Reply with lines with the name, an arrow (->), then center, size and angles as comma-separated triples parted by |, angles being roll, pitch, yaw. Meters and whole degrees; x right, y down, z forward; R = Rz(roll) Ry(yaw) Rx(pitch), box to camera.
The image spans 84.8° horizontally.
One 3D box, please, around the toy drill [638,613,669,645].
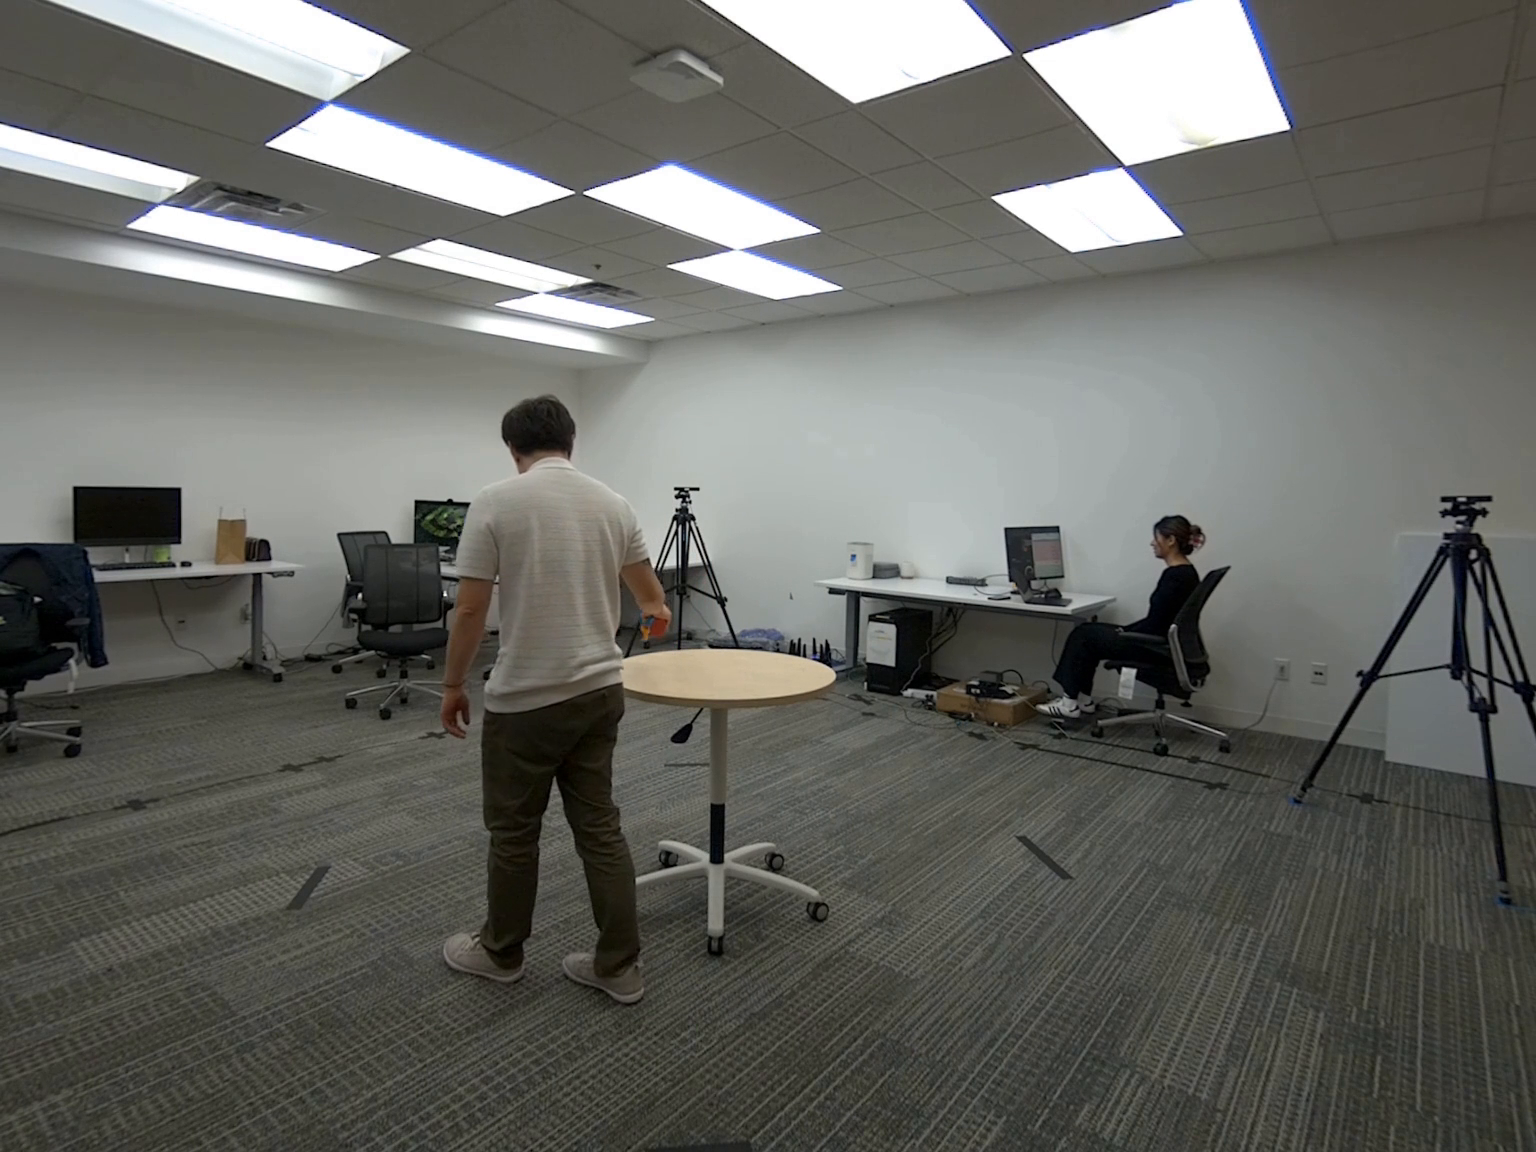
toy drill -> -0.399, 0.165, 2.838 | 0.060, 0.167, 0.151 | 1, 26, -20
